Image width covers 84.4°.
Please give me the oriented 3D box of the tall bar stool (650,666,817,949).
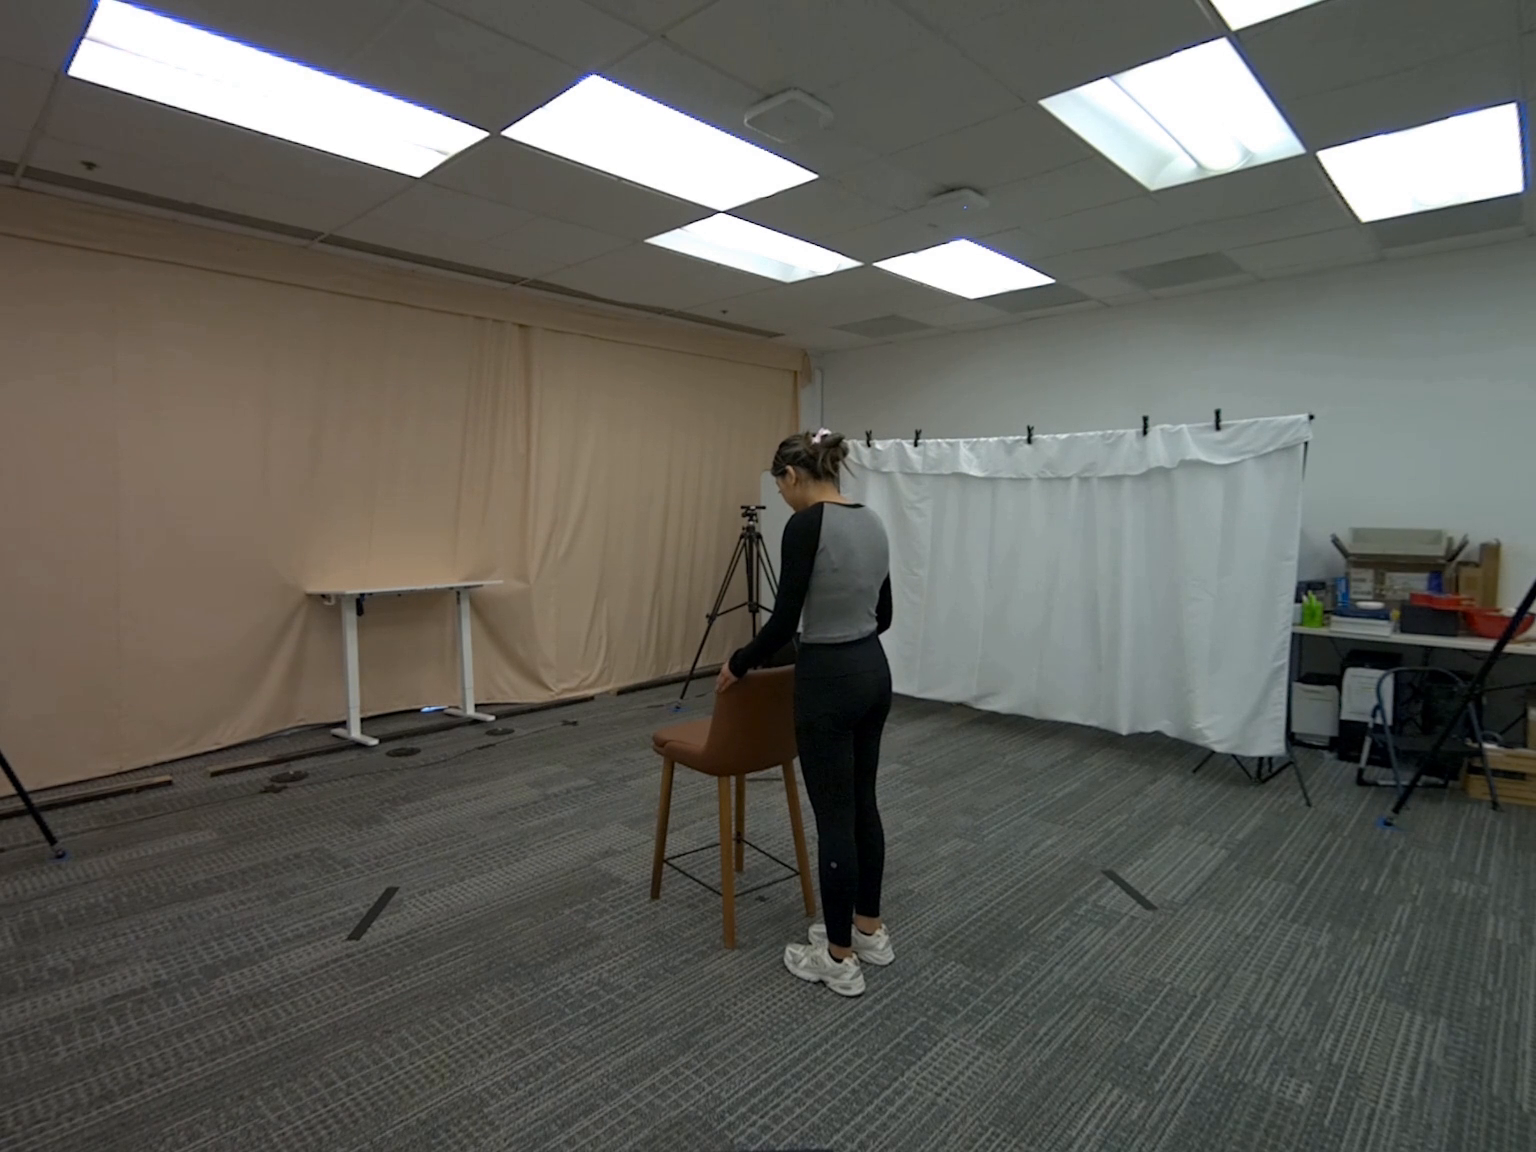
[{"bbox_3d":[-0.114,0.711,2.897,0.443,0.887,0.483,-2,6,-38],"label":"tall bar stool"}]
